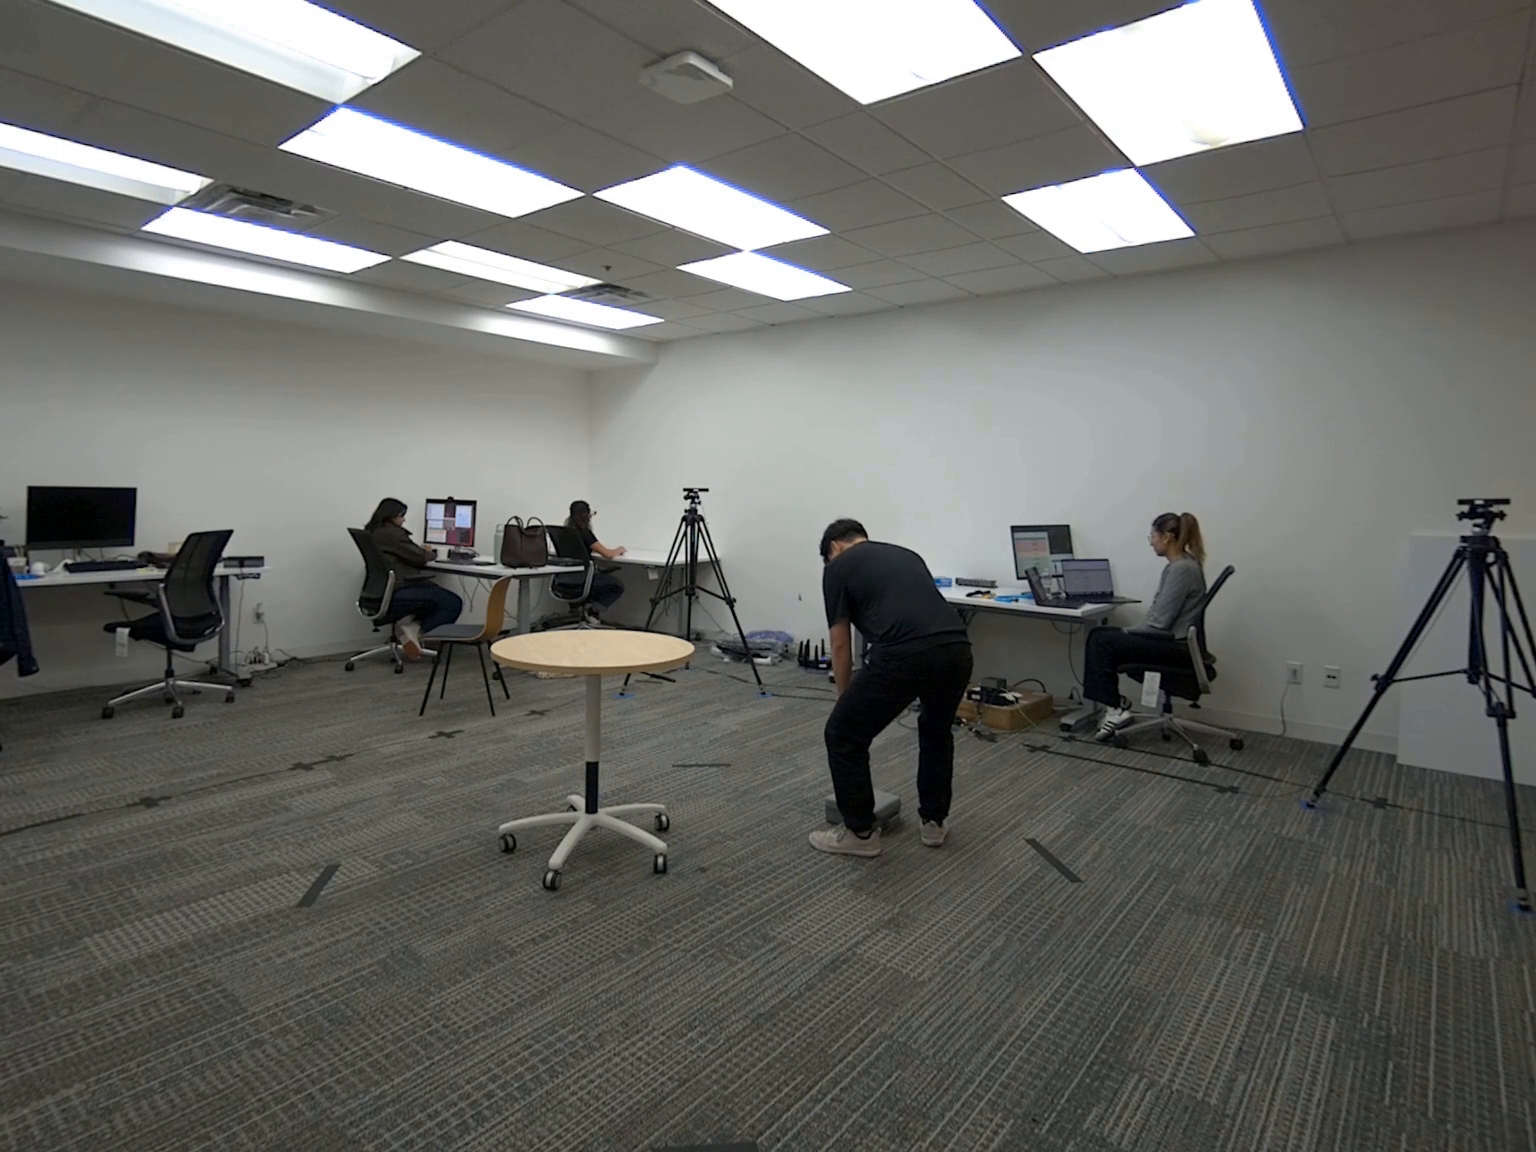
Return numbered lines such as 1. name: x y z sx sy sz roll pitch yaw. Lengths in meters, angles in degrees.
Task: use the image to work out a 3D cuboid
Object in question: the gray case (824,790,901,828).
1. gray case: 0.402 0.977 3.610 0.269 0.104 0.249 5 6 35
